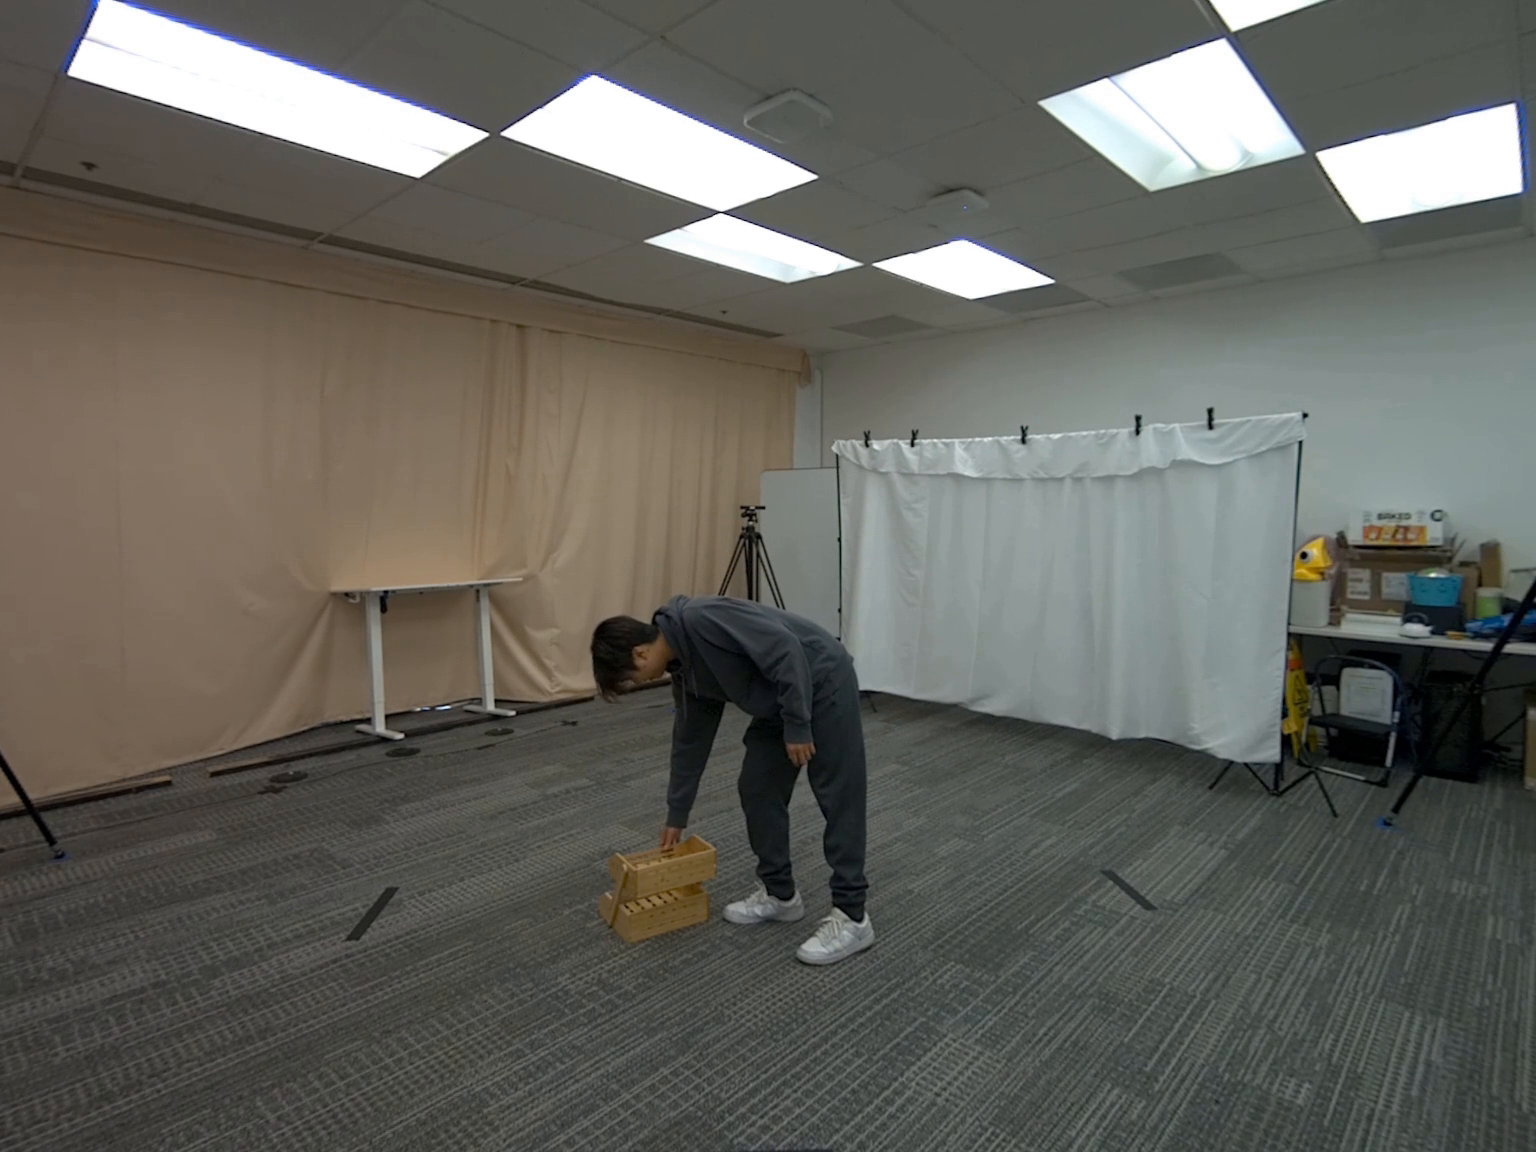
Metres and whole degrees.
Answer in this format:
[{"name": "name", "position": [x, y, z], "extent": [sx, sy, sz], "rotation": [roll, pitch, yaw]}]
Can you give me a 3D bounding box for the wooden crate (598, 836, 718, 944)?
[{"name": "wooden crate", "position": [-0.375, 1.028, 2.837], "extent": [0.315, 0.272, 0.311], "rotation": [-3, 5, -33]}]
